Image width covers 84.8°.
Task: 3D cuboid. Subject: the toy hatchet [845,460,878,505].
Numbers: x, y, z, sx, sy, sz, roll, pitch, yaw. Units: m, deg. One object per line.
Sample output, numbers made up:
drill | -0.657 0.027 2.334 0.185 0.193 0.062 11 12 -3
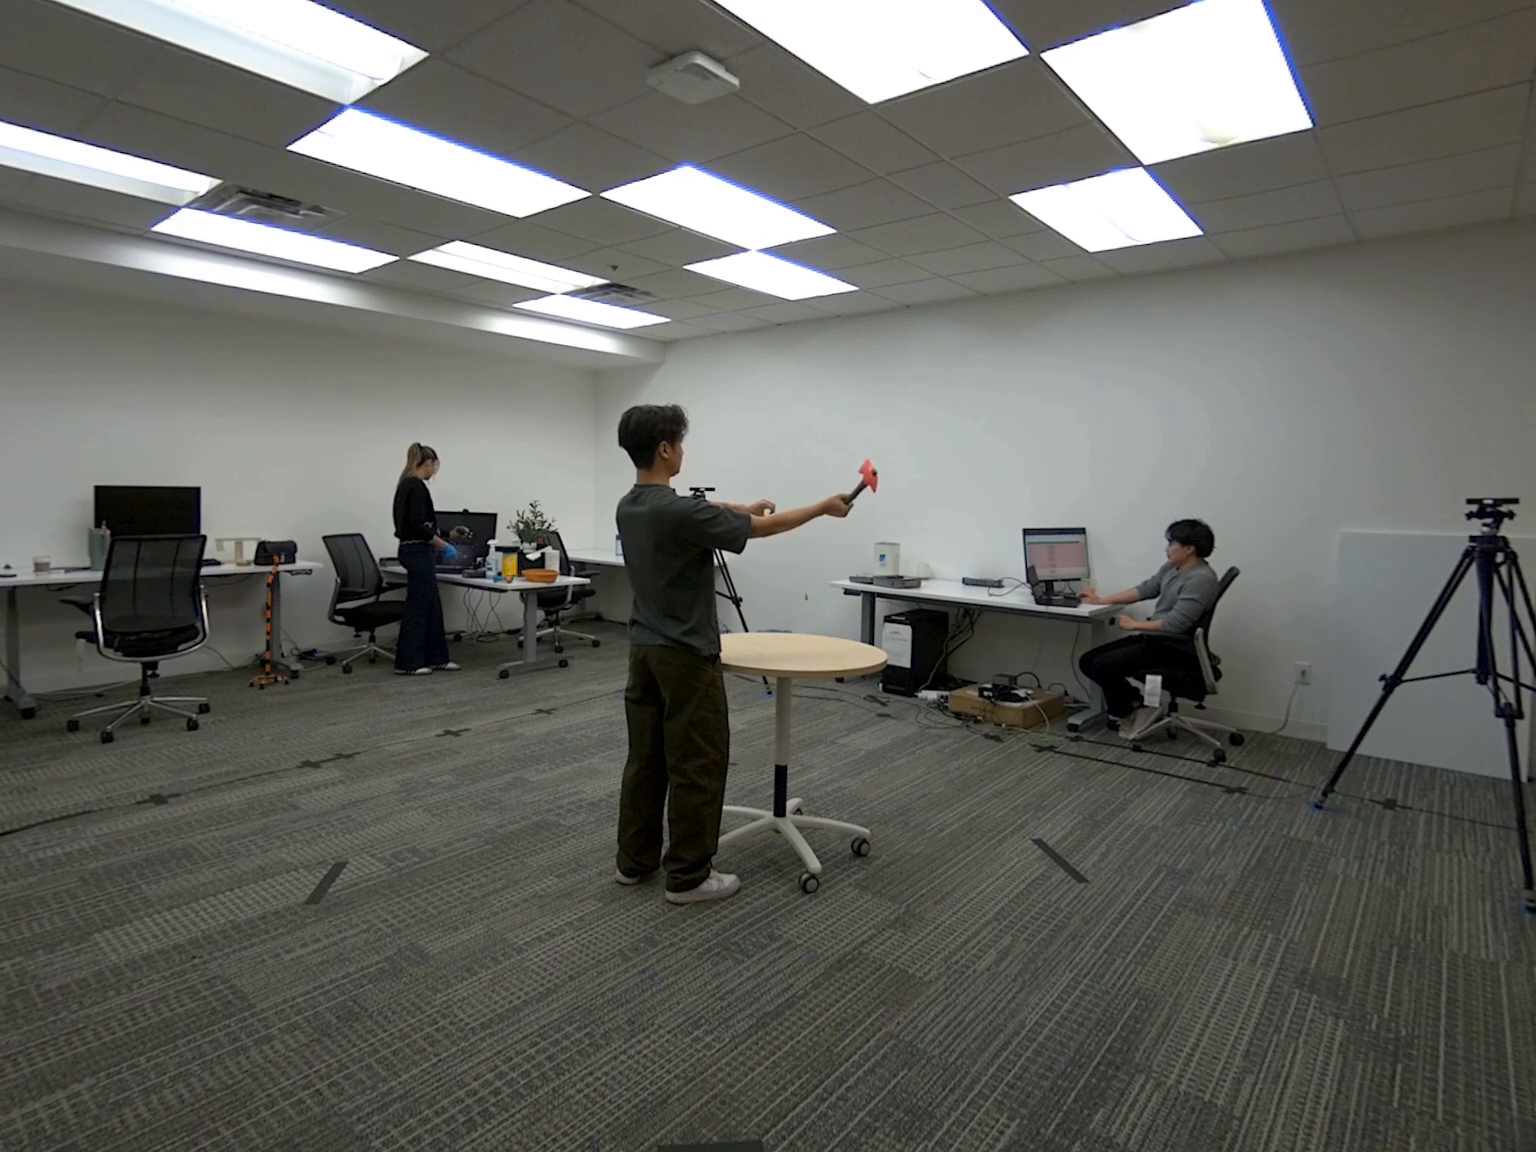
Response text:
toy hatchet | 0.287 -0.308 2.915 0.029 0.132 0.273 4 -12 -25
